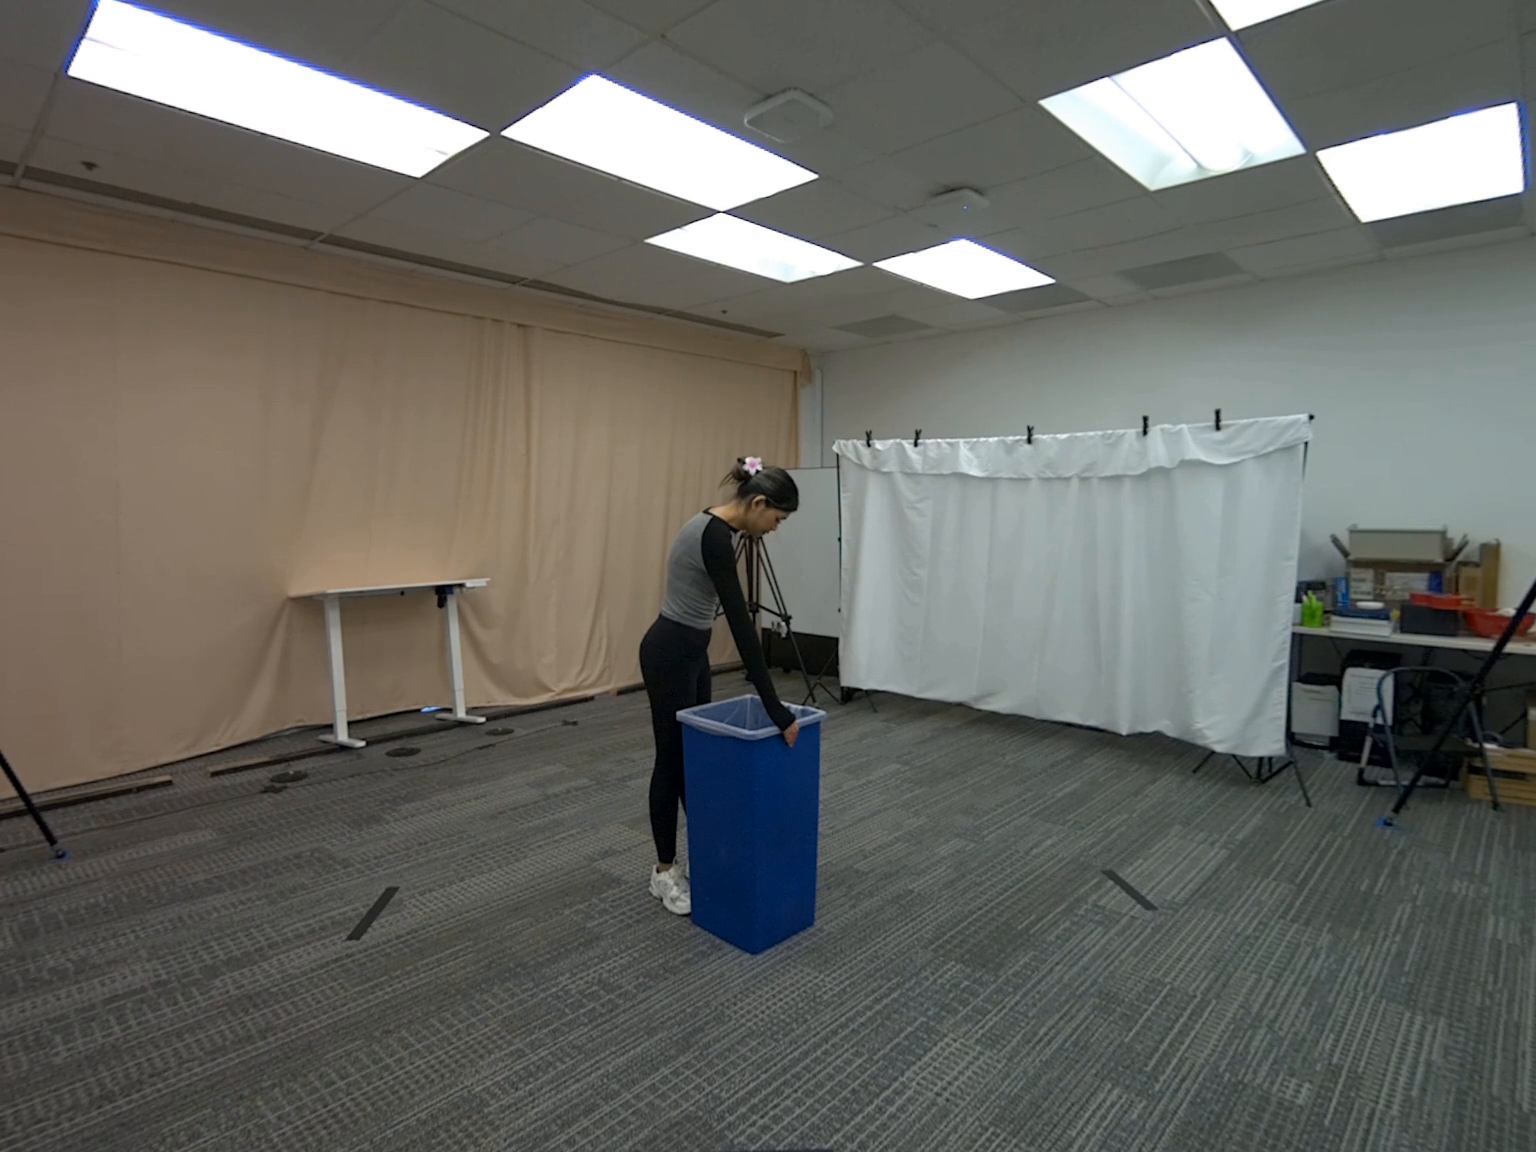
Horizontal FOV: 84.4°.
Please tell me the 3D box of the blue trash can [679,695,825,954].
[{"bbox_3d":[-0.051,0.804,2.783,0.391,0.712,0.362,3,4,44],"label":"blue trash can"}]
